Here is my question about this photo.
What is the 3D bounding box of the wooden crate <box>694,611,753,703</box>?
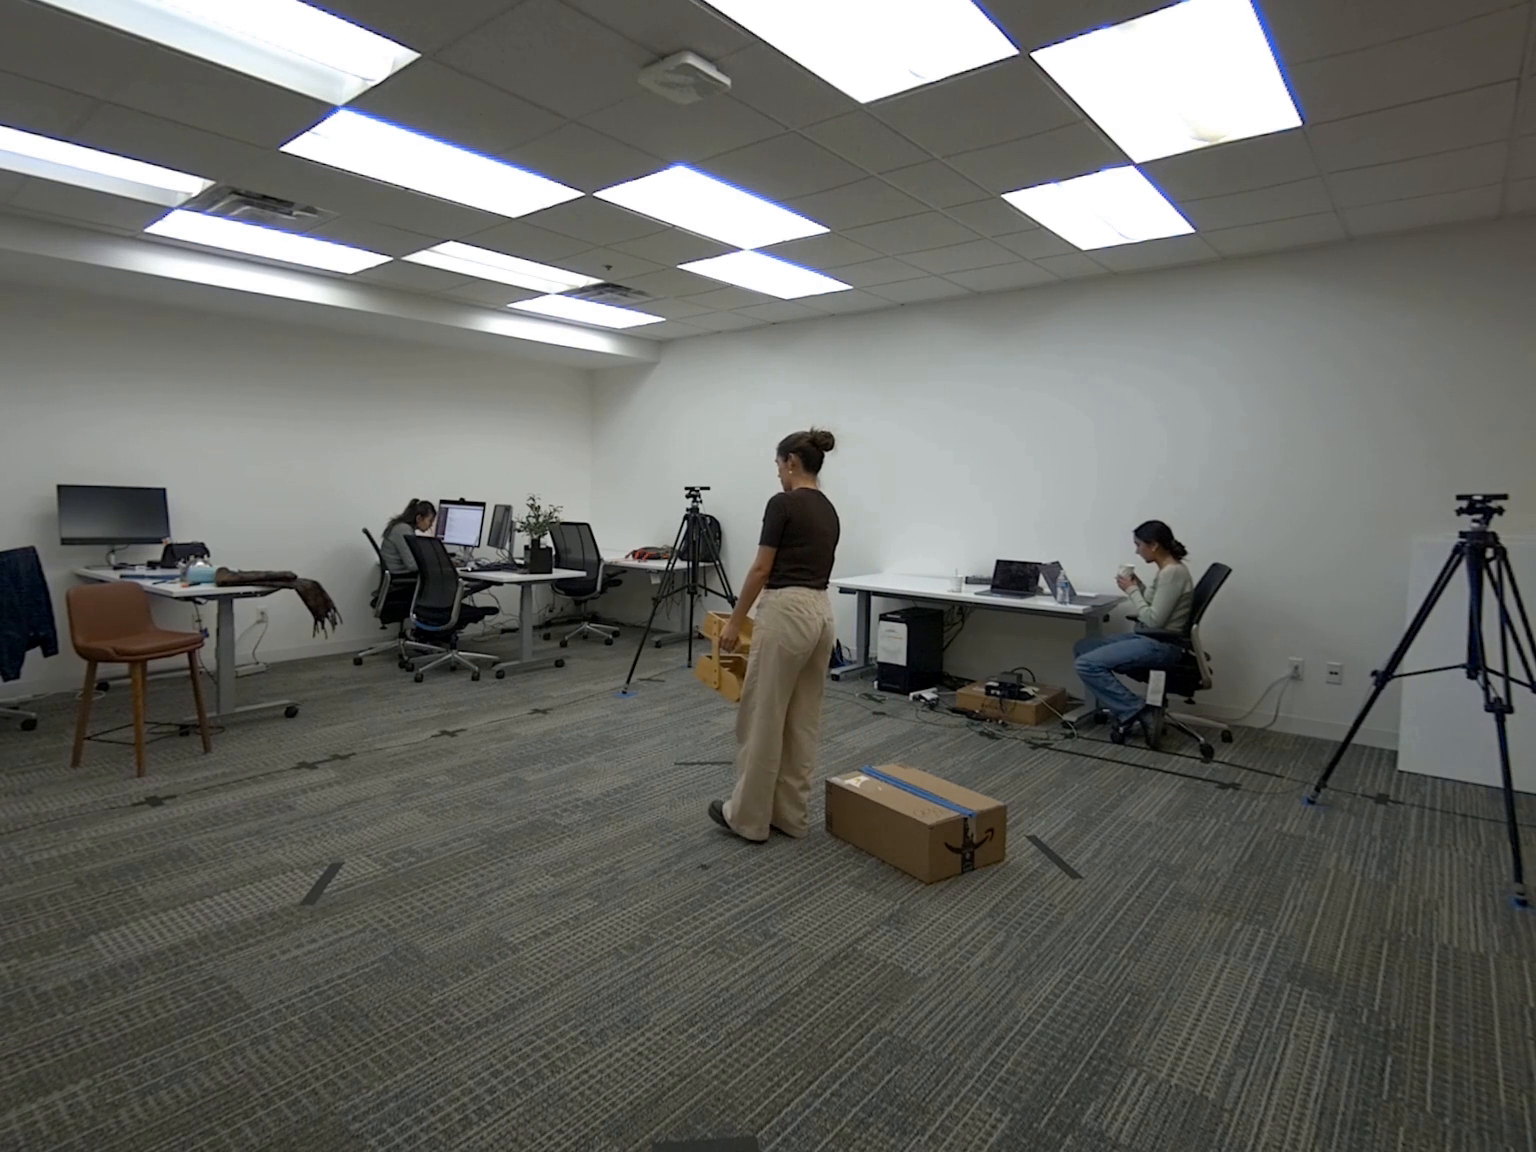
[{"bbox_3d":[-0.119,0.327,3.510,0.313,0.272,0.314,27,9,30],"label":"wooden crate"}]
